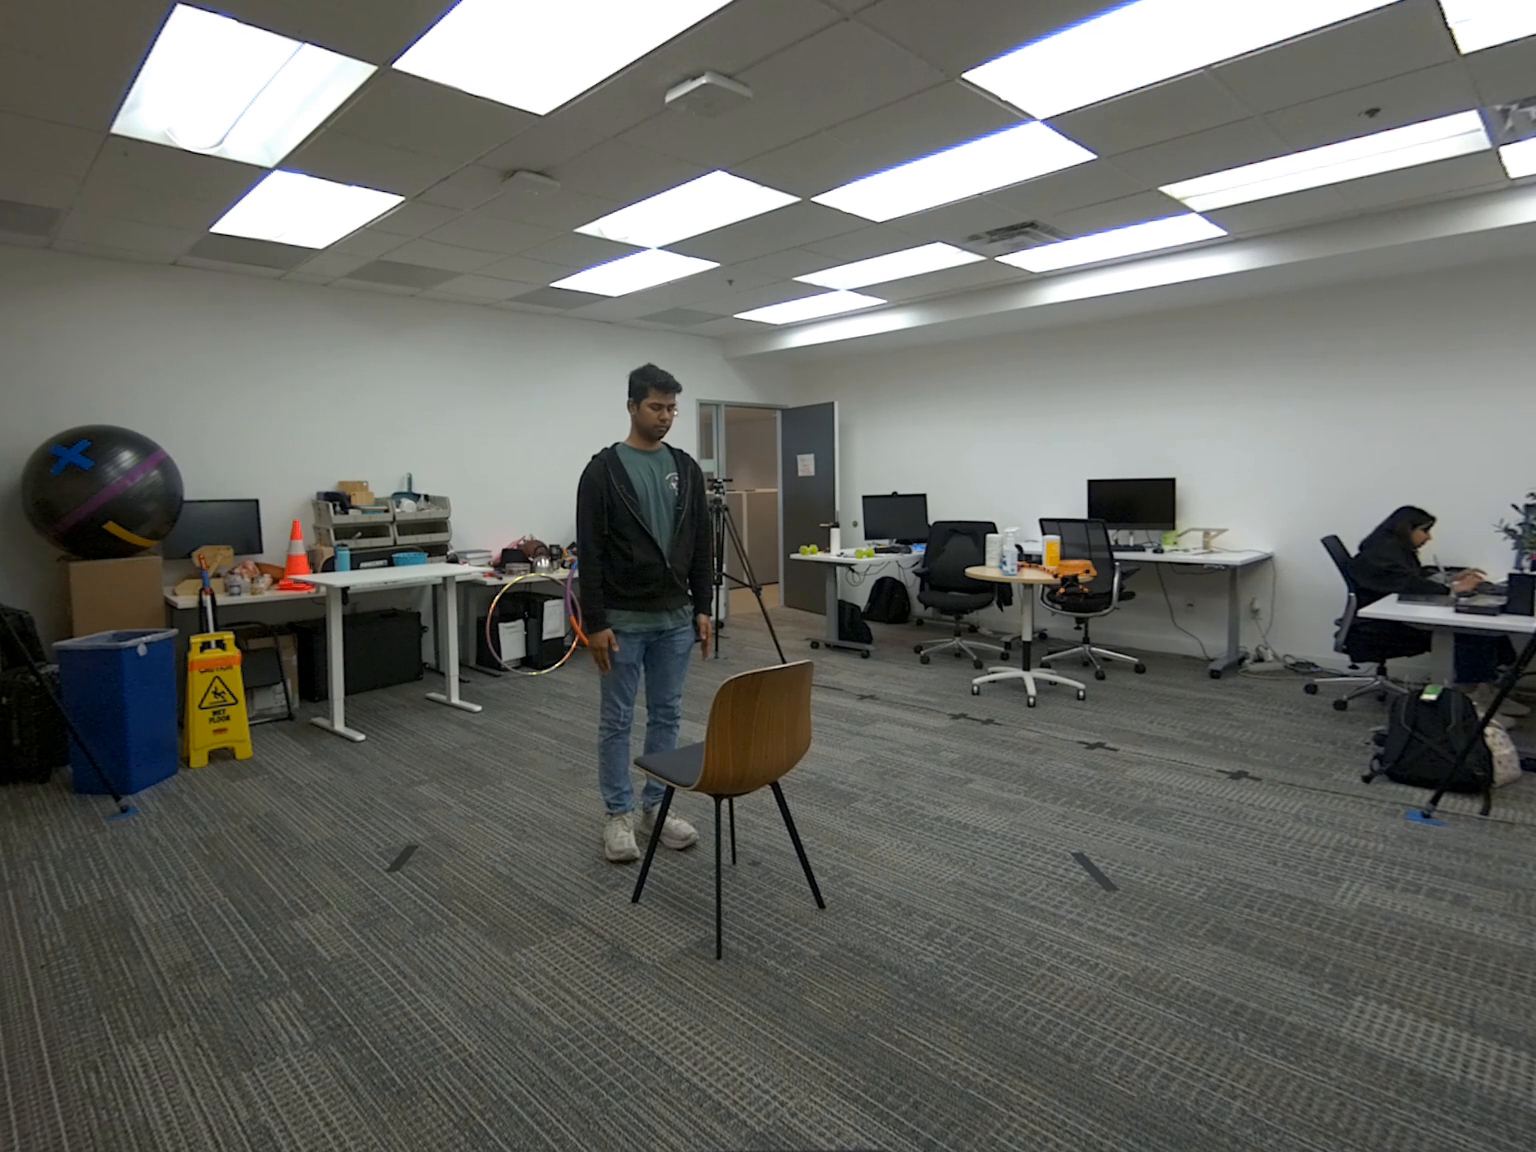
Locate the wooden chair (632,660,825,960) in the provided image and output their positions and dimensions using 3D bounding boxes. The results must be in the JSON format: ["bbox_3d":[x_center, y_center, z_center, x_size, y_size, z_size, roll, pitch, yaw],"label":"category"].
[{"bbox_3d":[-0.137,0.661,2.773,0.466,0.871,0.541,-5,11,-41],"label":"wooden chair"}]
